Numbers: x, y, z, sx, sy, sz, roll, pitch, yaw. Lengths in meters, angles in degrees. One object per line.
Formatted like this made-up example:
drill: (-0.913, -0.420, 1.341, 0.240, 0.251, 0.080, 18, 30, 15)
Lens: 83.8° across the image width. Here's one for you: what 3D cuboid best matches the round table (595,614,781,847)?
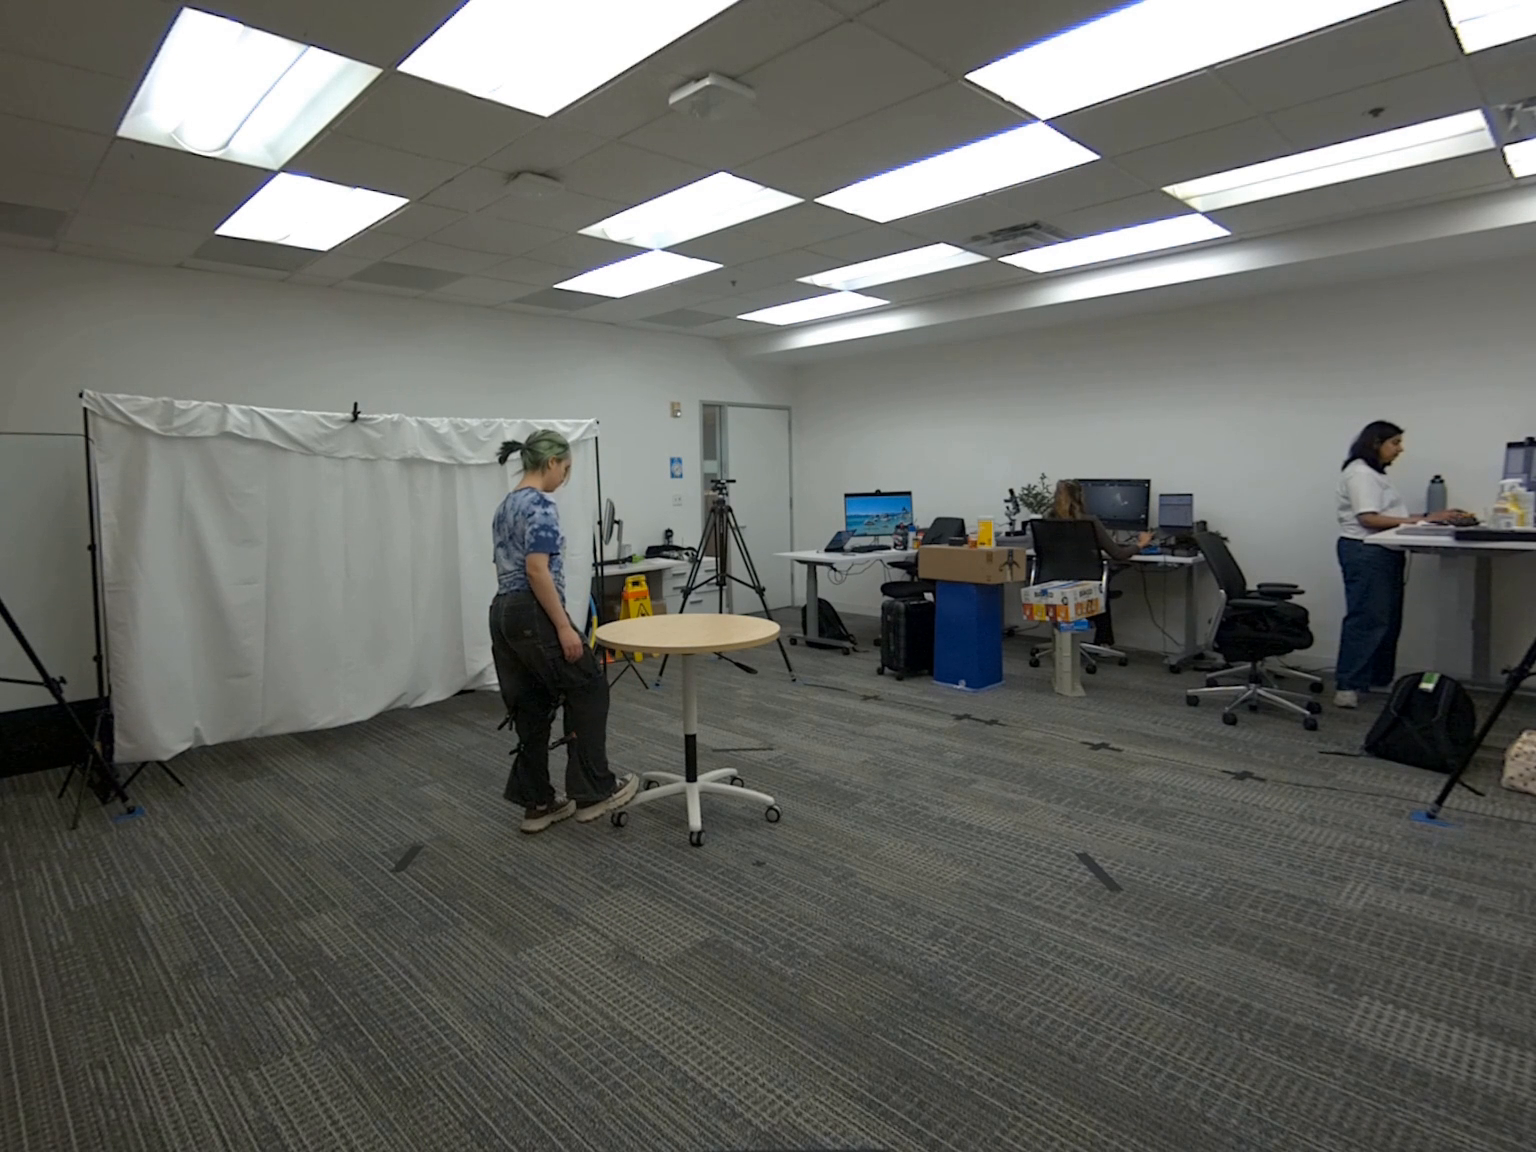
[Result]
round table: (-0.324, 0.610, 3.562, 0.763, 0.791, 0.767, -1, 4, -2)
